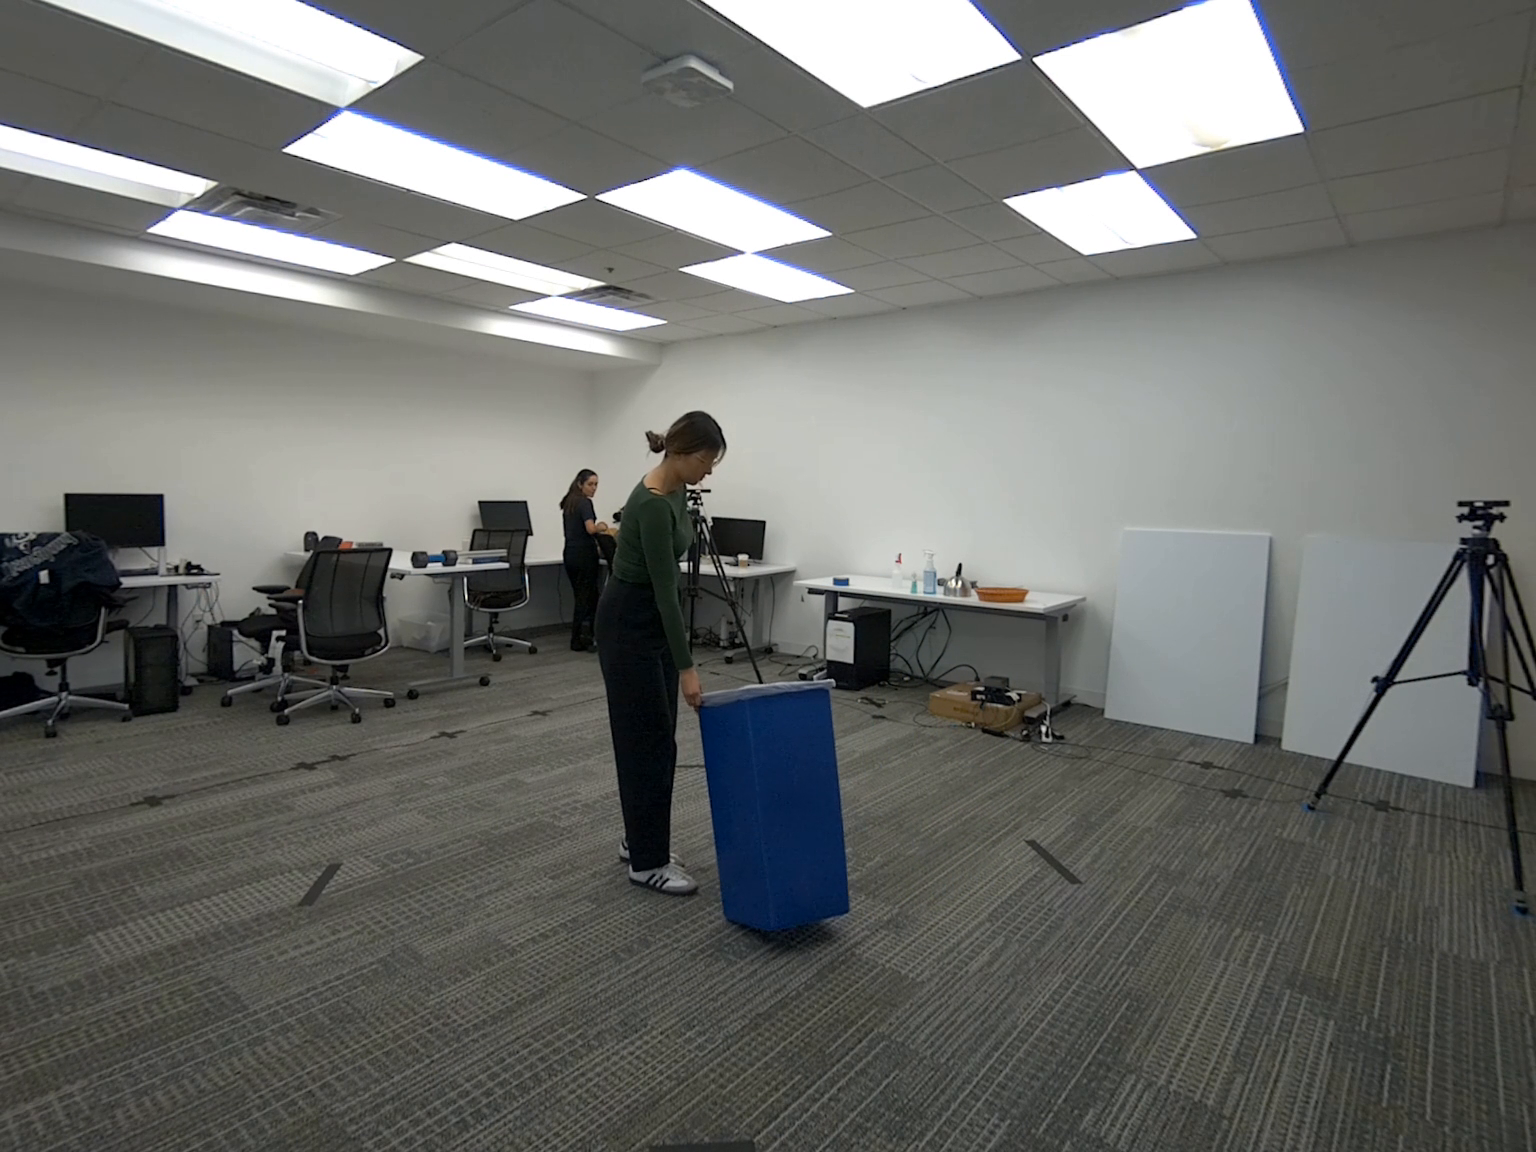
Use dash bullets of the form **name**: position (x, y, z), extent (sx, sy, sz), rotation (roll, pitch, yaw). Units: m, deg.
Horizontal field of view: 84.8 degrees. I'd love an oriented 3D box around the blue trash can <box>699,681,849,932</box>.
- **blue trash can**: position (0.020, 0.727, 2.774), extent (0.367, 0.723, 0.380), rotation (1, -14, -33)
